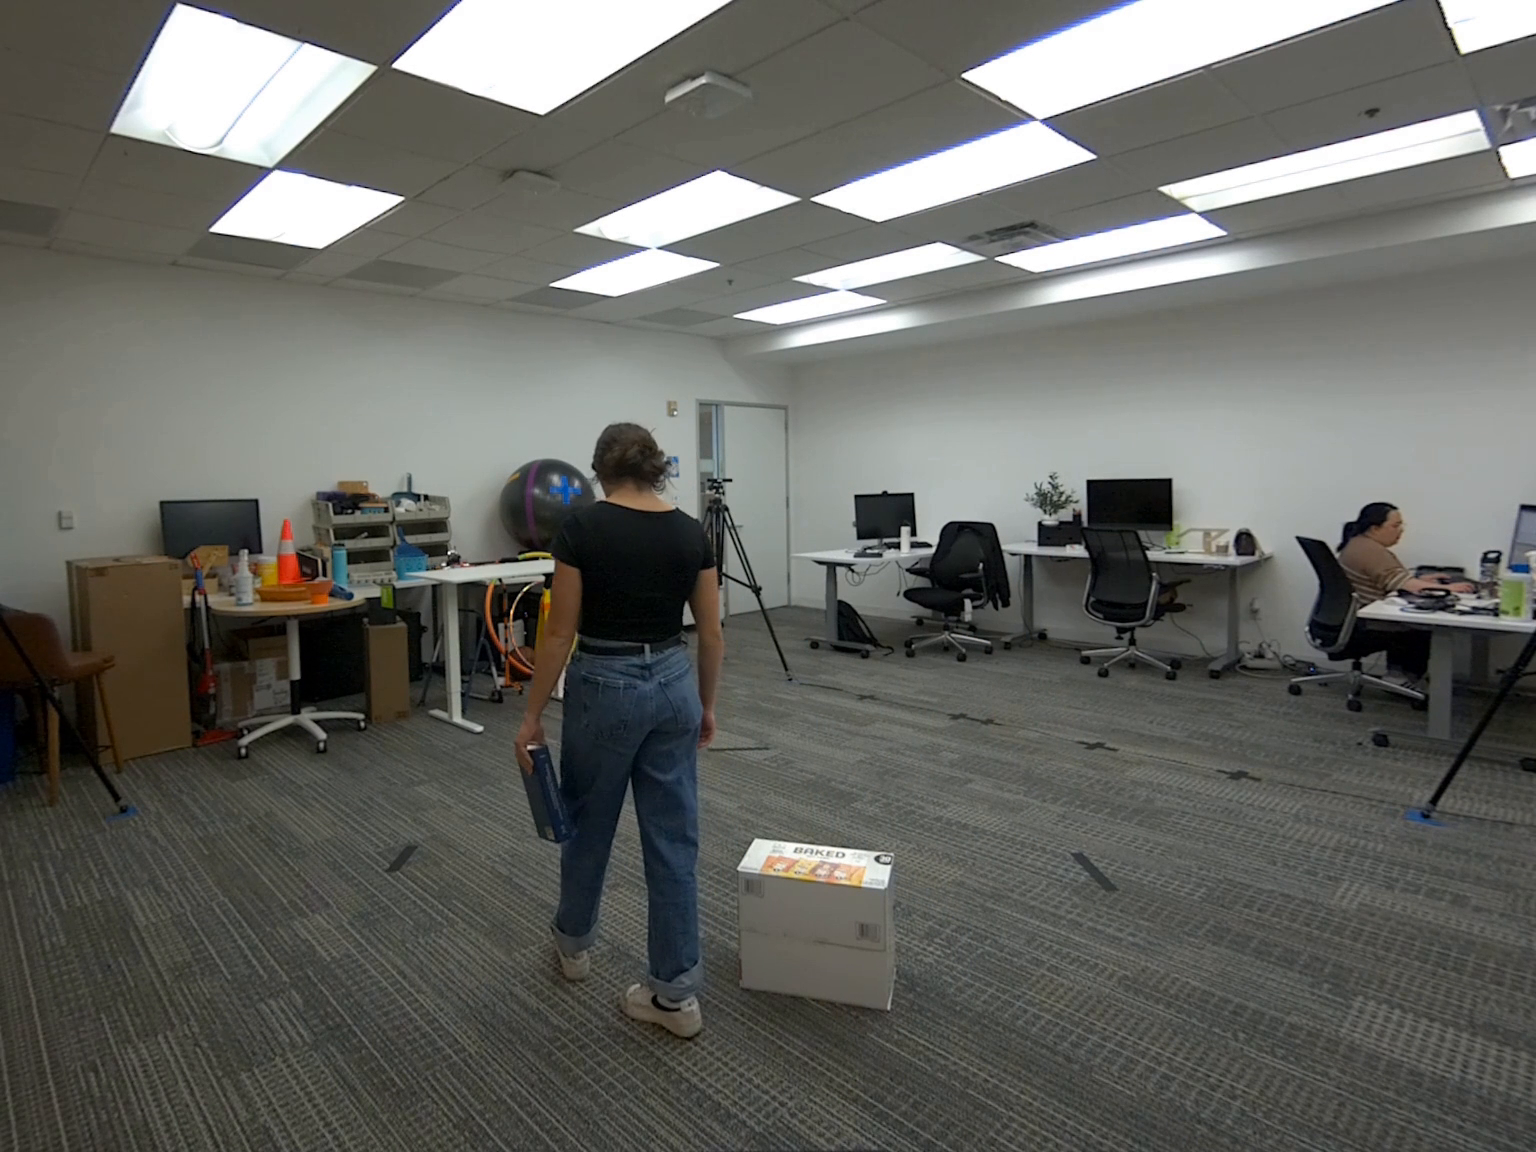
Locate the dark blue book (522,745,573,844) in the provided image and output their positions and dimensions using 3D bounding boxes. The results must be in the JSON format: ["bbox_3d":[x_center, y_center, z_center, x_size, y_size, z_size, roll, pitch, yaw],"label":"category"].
[{"bbox_3d":[-0.580,0.564,2.231,0.044,0.245,0.166,-17,1,-33],"label":"dark blue book"}]
